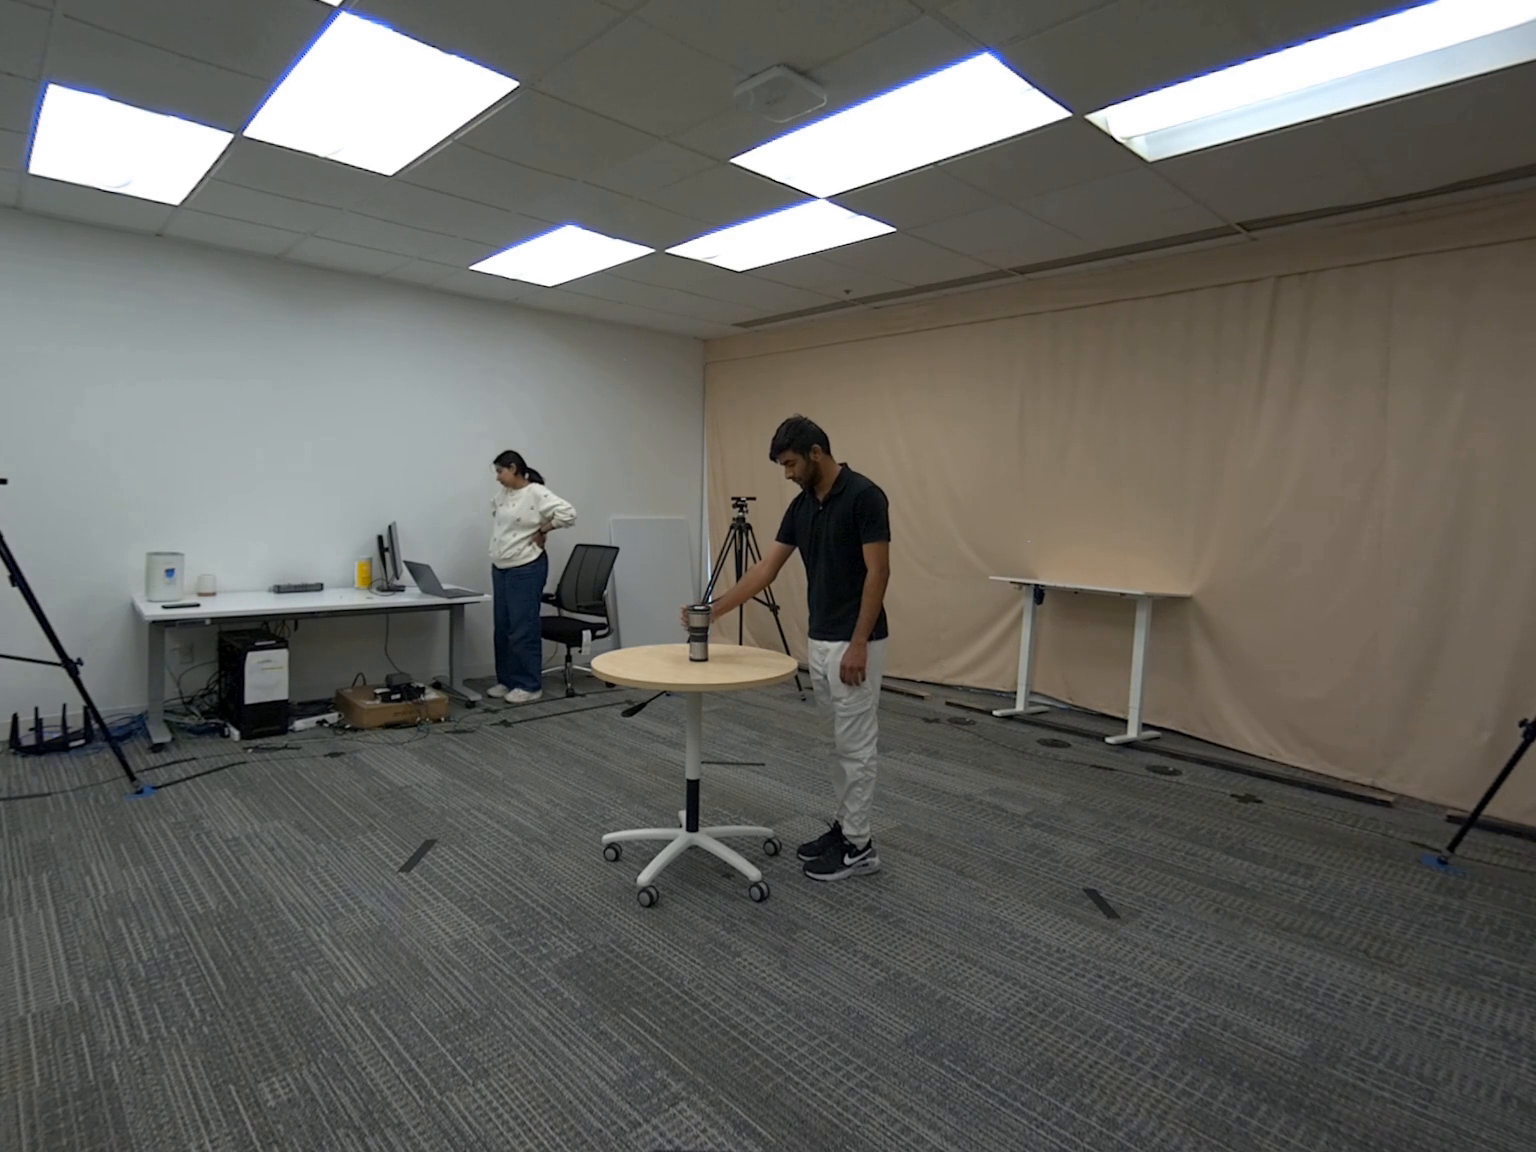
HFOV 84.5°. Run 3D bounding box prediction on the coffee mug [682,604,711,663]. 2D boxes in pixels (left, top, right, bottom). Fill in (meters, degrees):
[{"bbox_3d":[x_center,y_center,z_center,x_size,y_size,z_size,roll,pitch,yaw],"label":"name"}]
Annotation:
[{"bbox_3d":[-0.251,0.219,3.171,0.089,0.203,0.119,-3,-2,28],"label":"coffee mug"}]
